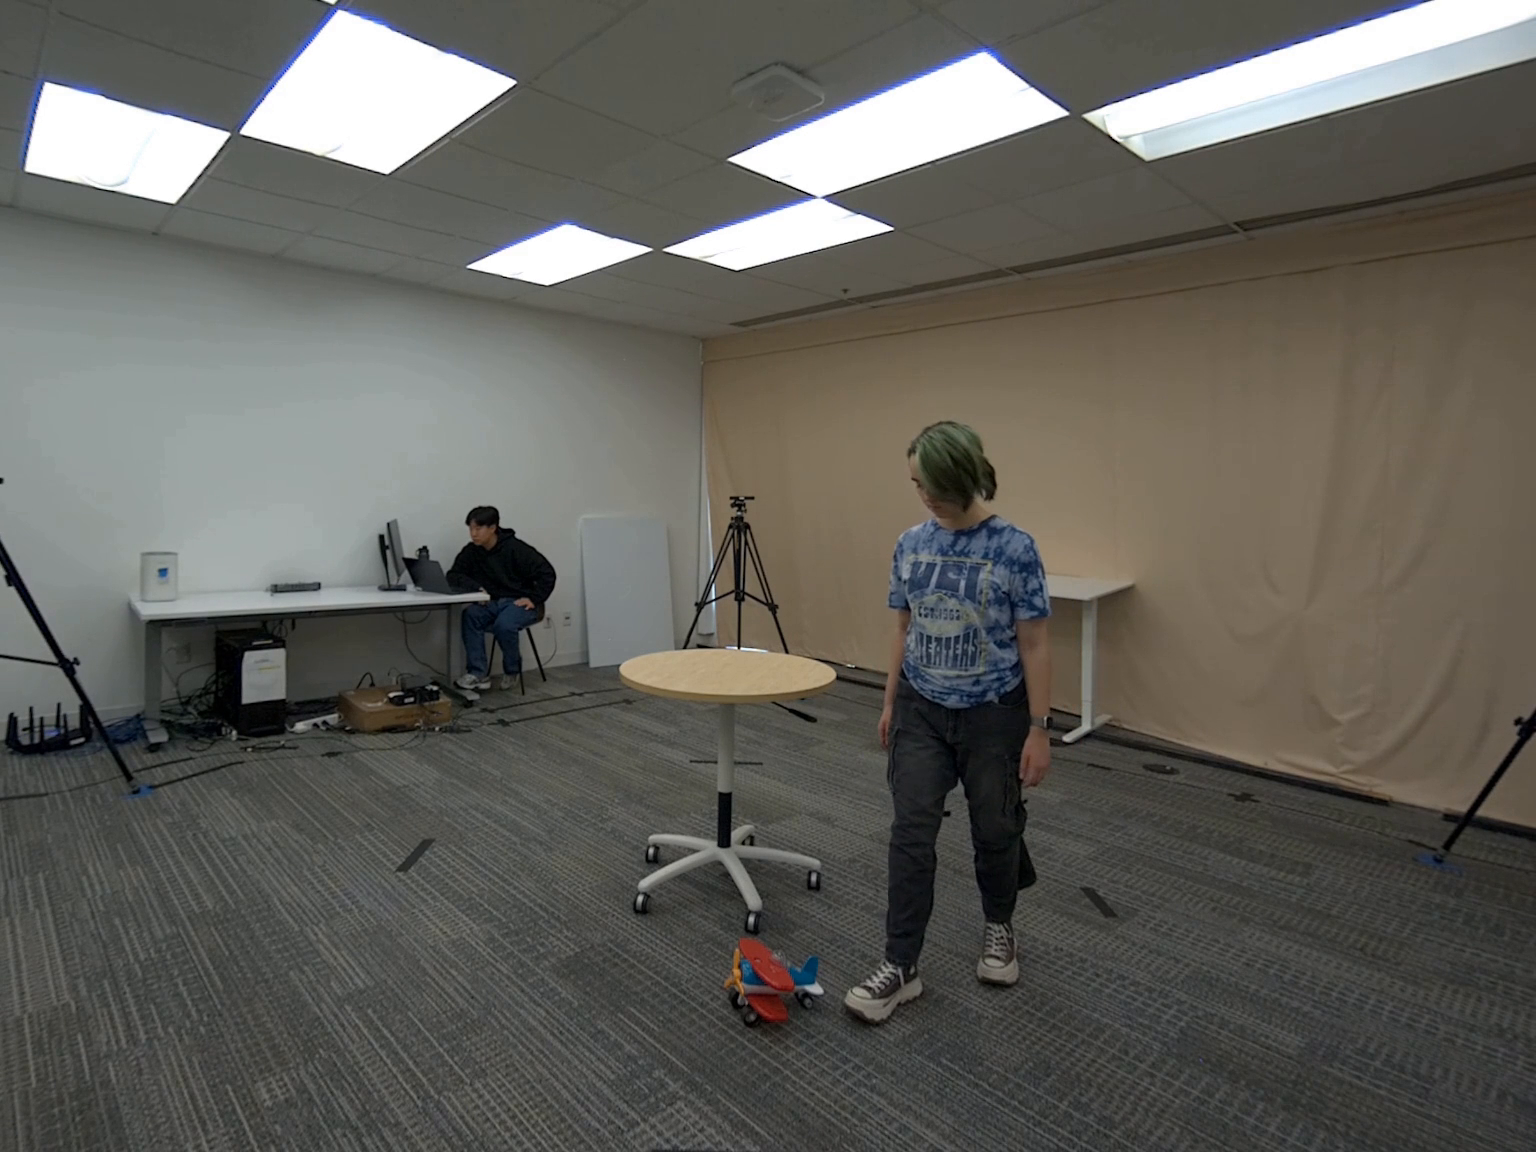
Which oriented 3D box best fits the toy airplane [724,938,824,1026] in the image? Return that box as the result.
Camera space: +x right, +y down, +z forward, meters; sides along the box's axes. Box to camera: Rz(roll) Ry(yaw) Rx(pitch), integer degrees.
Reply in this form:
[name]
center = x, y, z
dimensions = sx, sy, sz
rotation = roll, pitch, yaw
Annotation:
[toy airplane]
center = 0.007, 1.104, 2.305
dimensions = 0.257, 0.156, 0.254
rotation = 5, 8, 38
